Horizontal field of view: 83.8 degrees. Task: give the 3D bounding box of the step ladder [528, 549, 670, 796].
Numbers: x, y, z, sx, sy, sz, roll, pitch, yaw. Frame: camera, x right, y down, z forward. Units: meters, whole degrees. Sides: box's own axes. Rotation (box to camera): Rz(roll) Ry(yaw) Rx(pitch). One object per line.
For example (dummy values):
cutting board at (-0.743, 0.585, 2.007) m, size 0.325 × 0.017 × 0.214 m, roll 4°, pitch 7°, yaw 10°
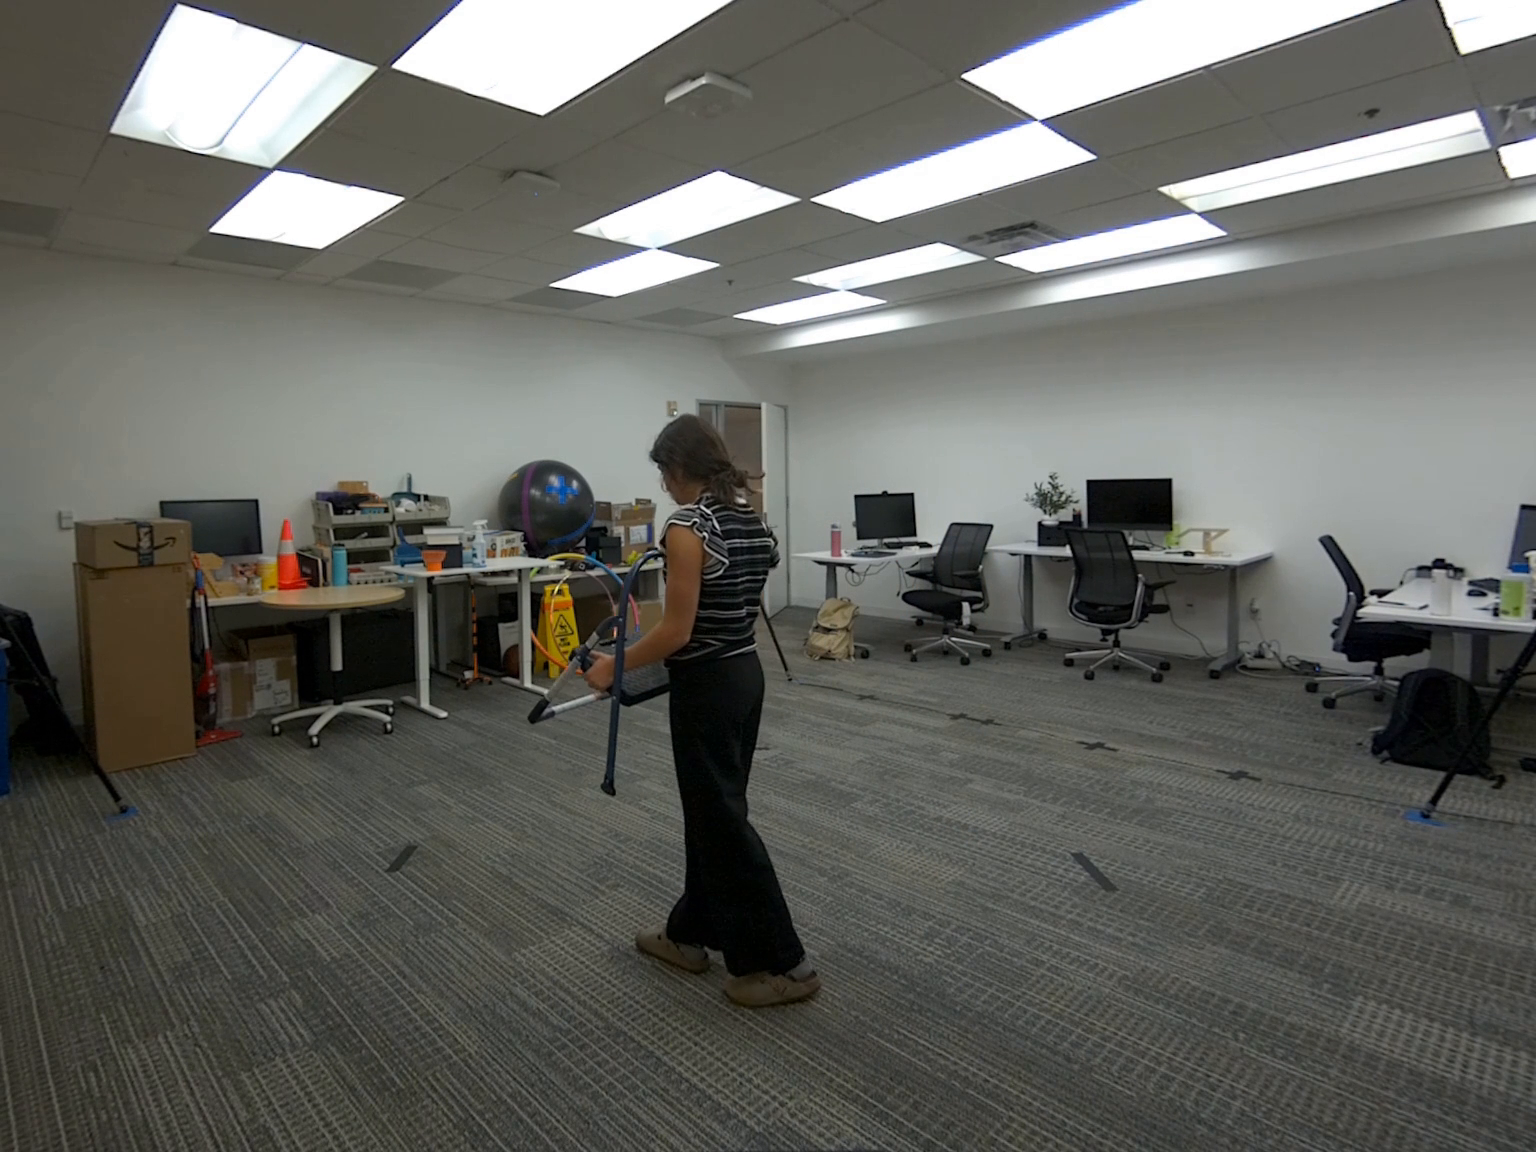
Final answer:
step ladder at (-0.341, 0.226, 2.463) m, size 0.359 × 0.602 × 0.422 m, roll 33°, pitch 18°, yaw 21°
